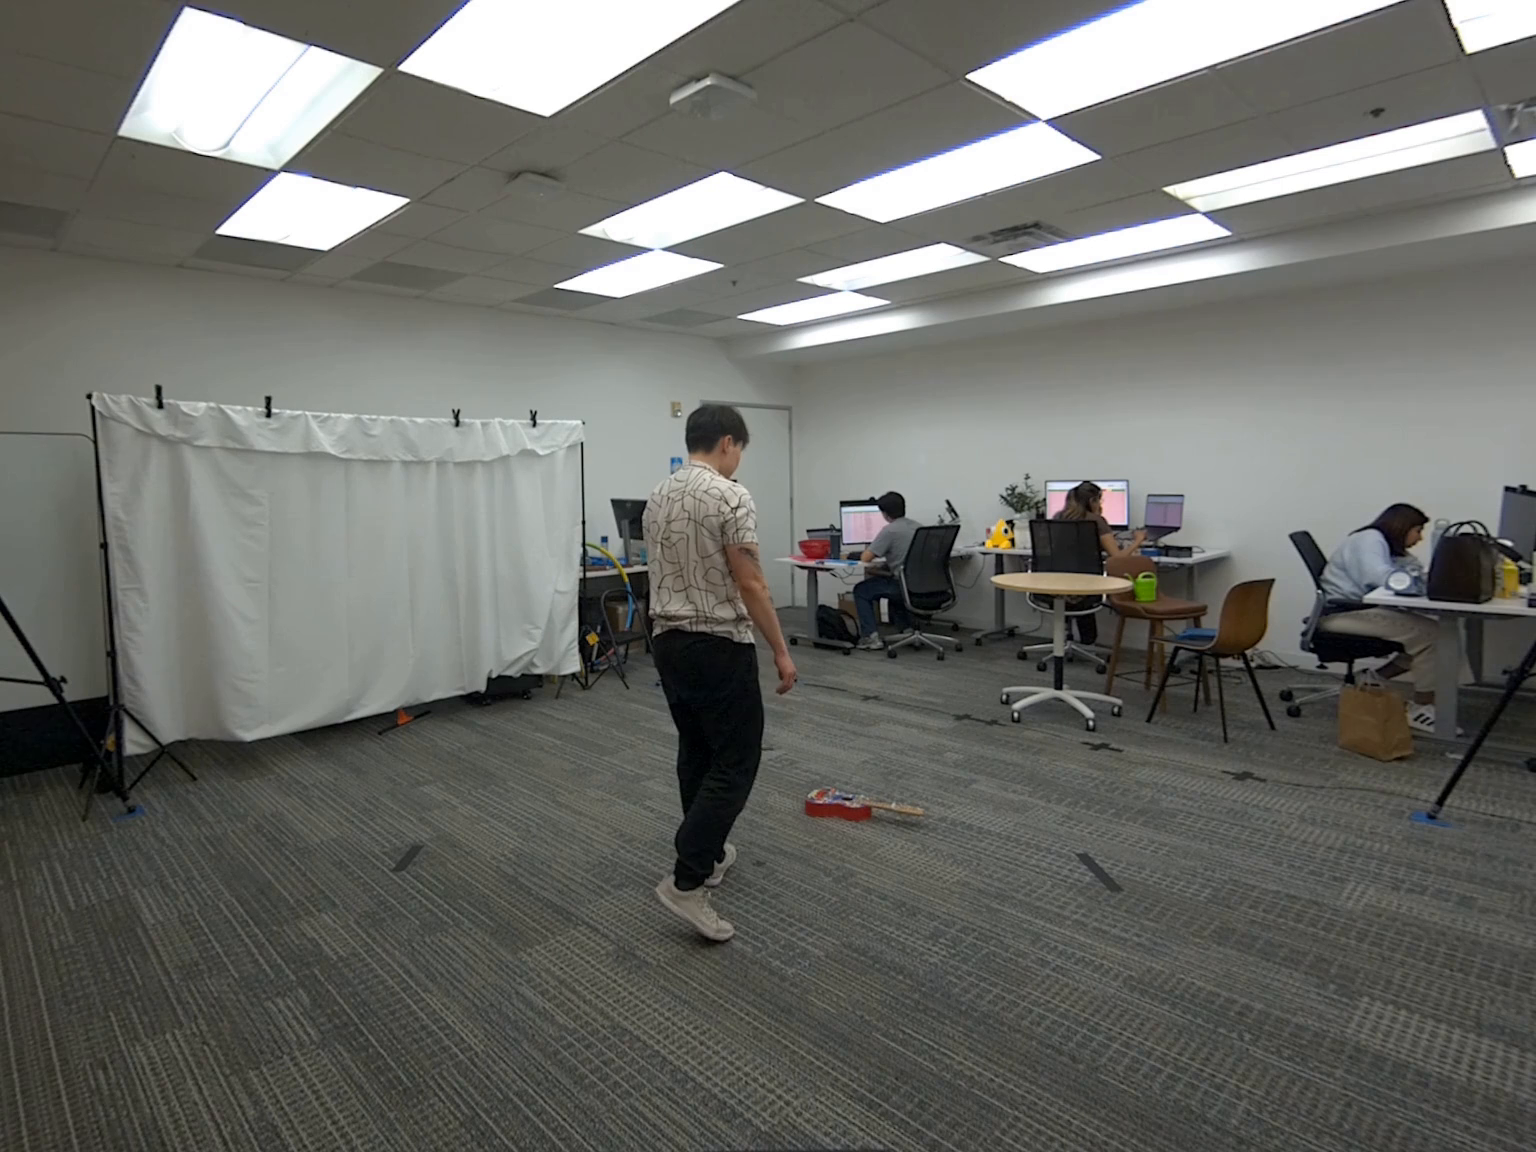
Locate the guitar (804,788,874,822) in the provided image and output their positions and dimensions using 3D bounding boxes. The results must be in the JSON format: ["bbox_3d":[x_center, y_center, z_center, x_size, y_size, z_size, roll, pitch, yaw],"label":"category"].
[{"bbox_3d":[0.386,0.960,3.506,0.512,0.070,0.188,3,7,36],"label":"guitar"}]
